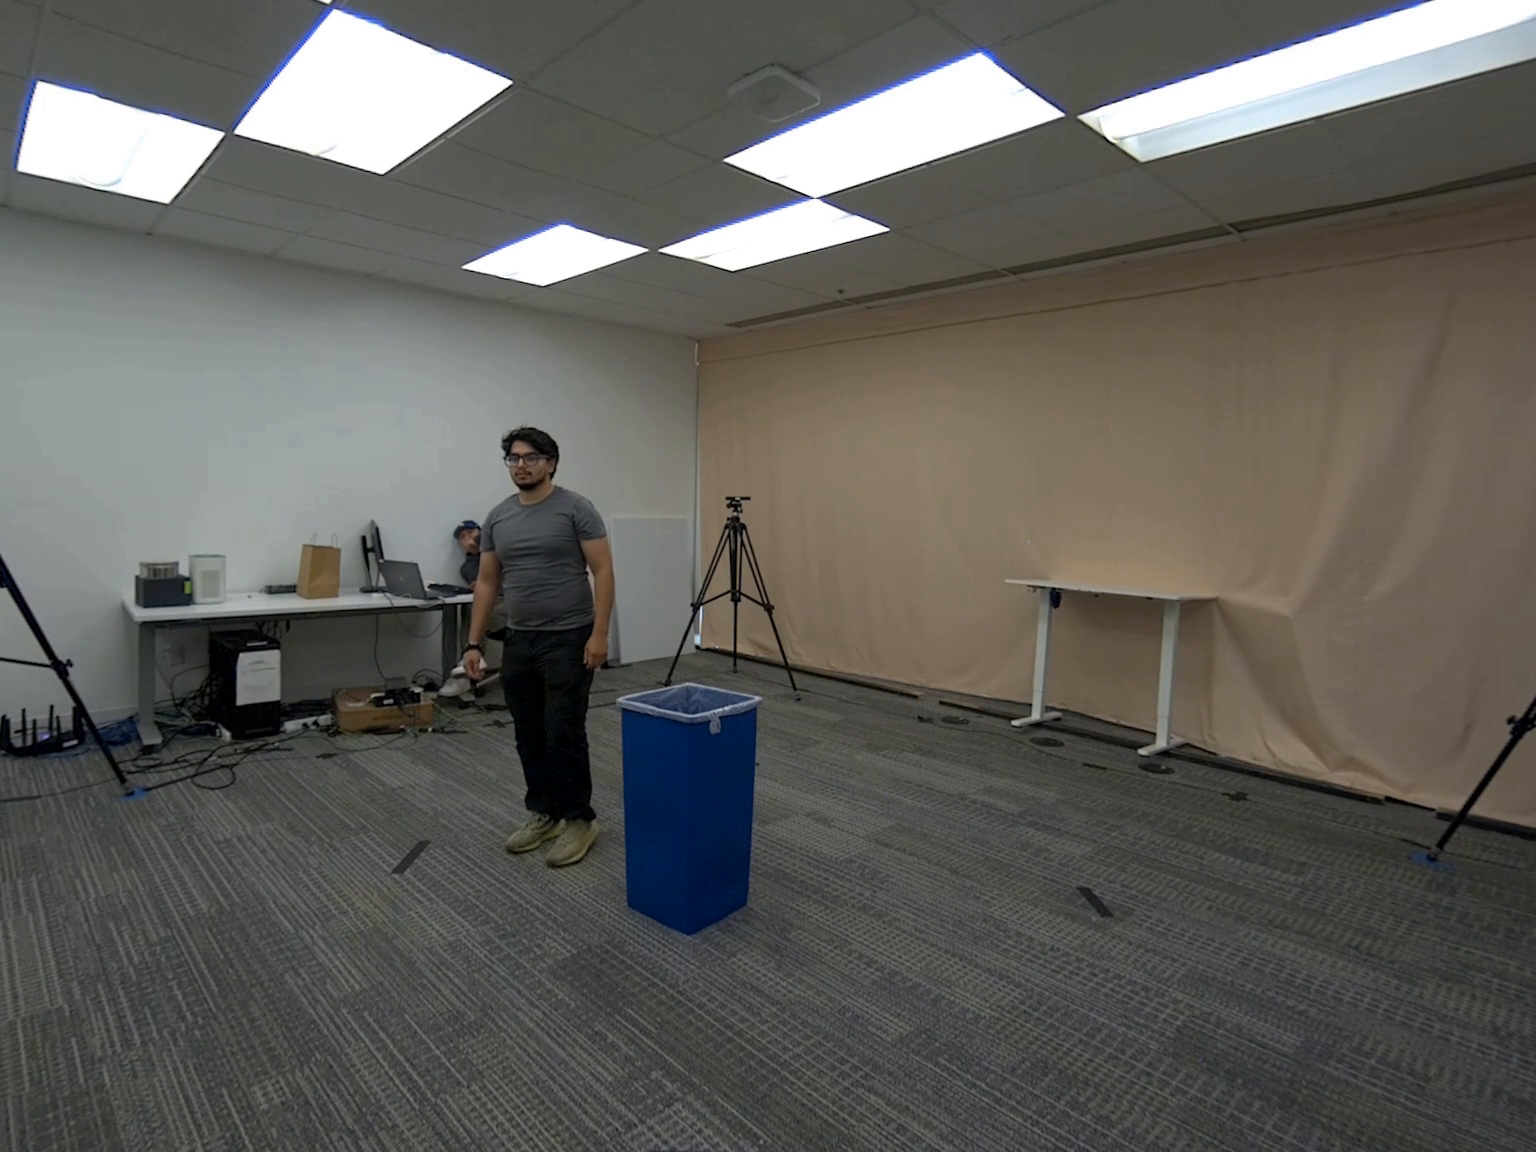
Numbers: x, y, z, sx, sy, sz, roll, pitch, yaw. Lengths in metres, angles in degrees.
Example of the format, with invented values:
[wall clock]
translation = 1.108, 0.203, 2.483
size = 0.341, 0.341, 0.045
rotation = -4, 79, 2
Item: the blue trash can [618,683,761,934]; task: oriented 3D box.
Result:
[blue trash can]
translation = -0.281, 0.769, 2.861
size = 0.383, 0.712, 0.369
rotation = 4, 4, 39
